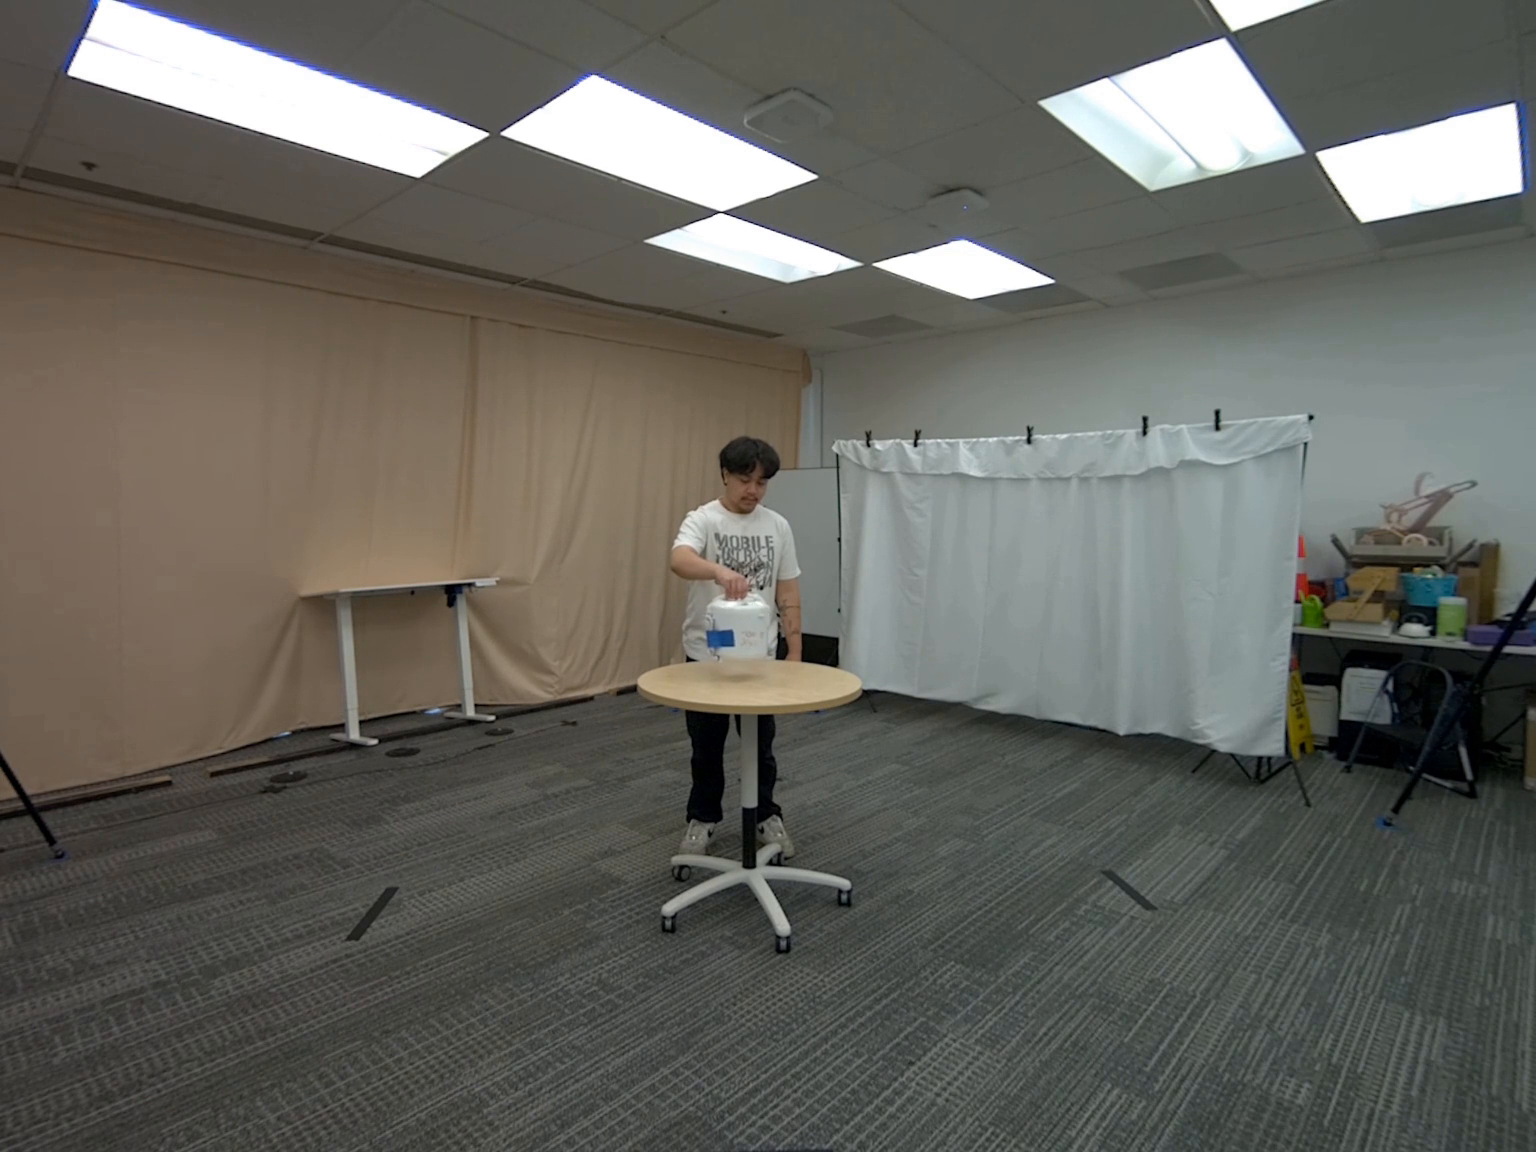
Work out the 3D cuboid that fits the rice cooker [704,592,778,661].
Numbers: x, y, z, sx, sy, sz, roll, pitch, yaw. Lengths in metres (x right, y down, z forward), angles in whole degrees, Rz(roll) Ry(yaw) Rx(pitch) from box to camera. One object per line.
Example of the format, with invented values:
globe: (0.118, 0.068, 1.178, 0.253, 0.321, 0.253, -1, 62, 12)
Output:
rice cooker: (-0.103, 0.165, 2.885, 0.222, 0.232, 0.216, 1, 6, 6)
